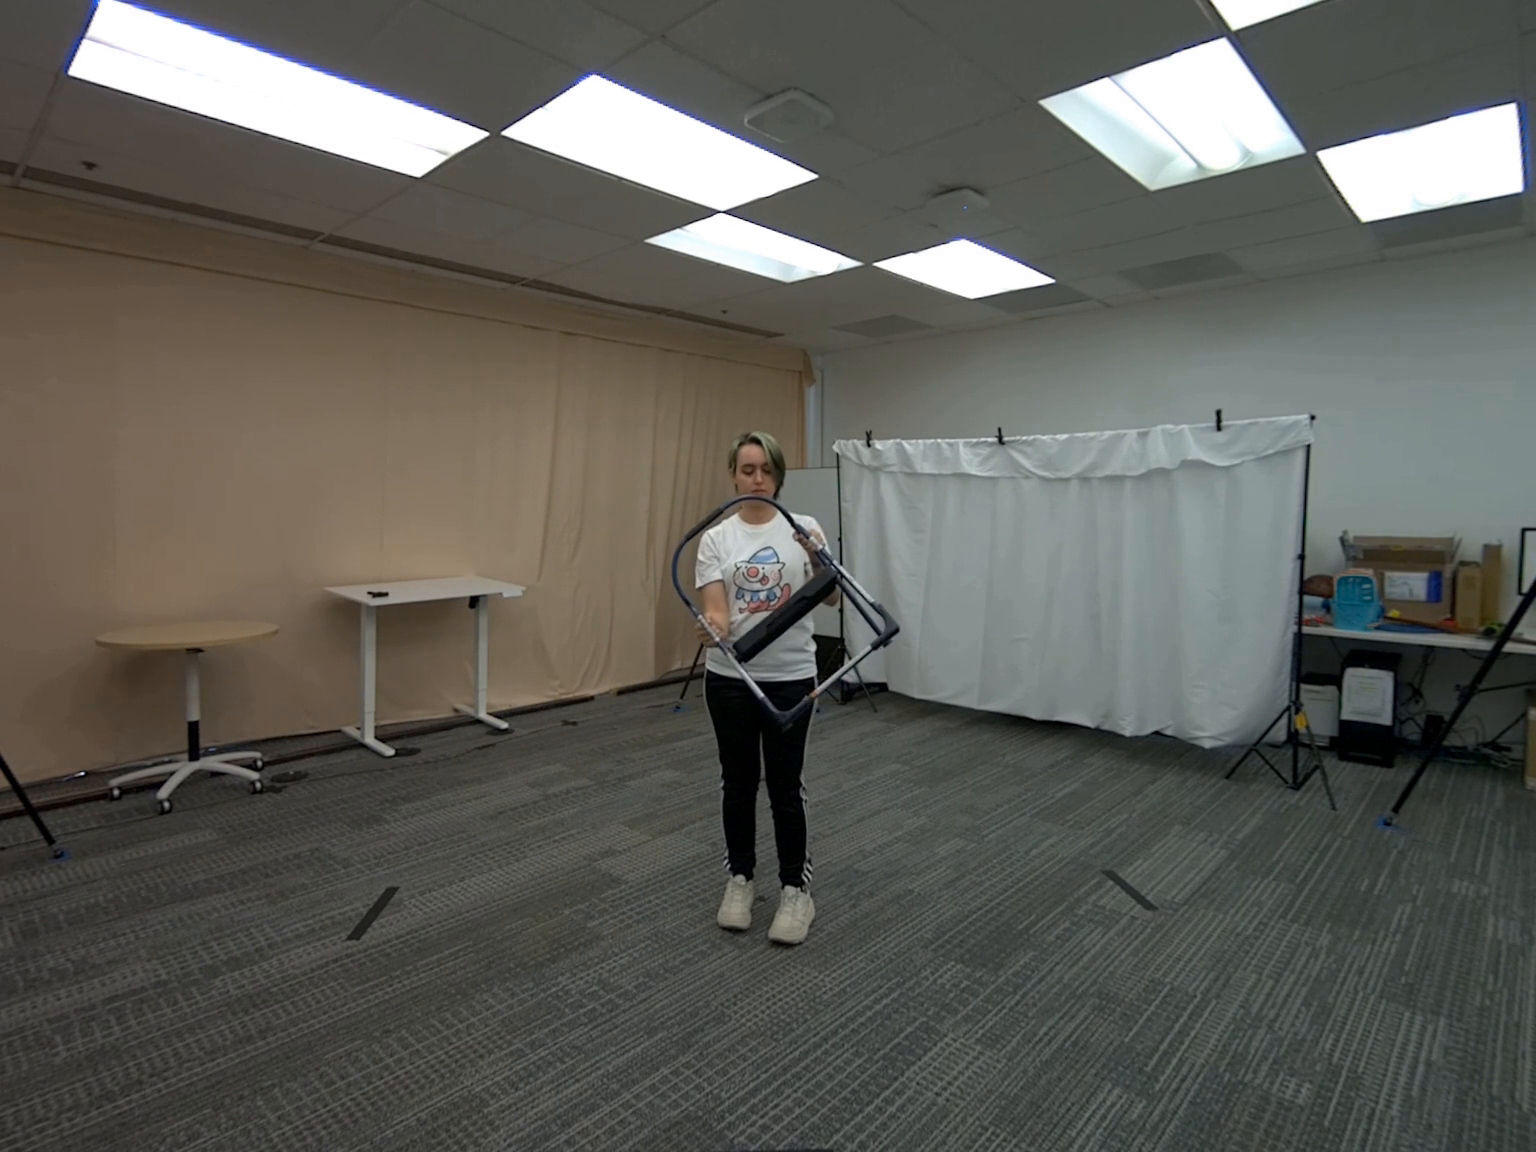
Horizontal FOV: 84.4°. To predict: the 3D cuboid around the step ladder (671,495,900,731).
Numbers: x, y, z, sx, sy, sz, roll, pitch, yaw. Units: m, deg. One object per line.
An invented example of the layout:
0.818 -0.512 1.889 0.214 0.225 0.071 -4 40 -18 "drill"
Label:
0.010 0.079 2.453 0.430 0.615 0.345 -41 -12 -5 "step ladder"
